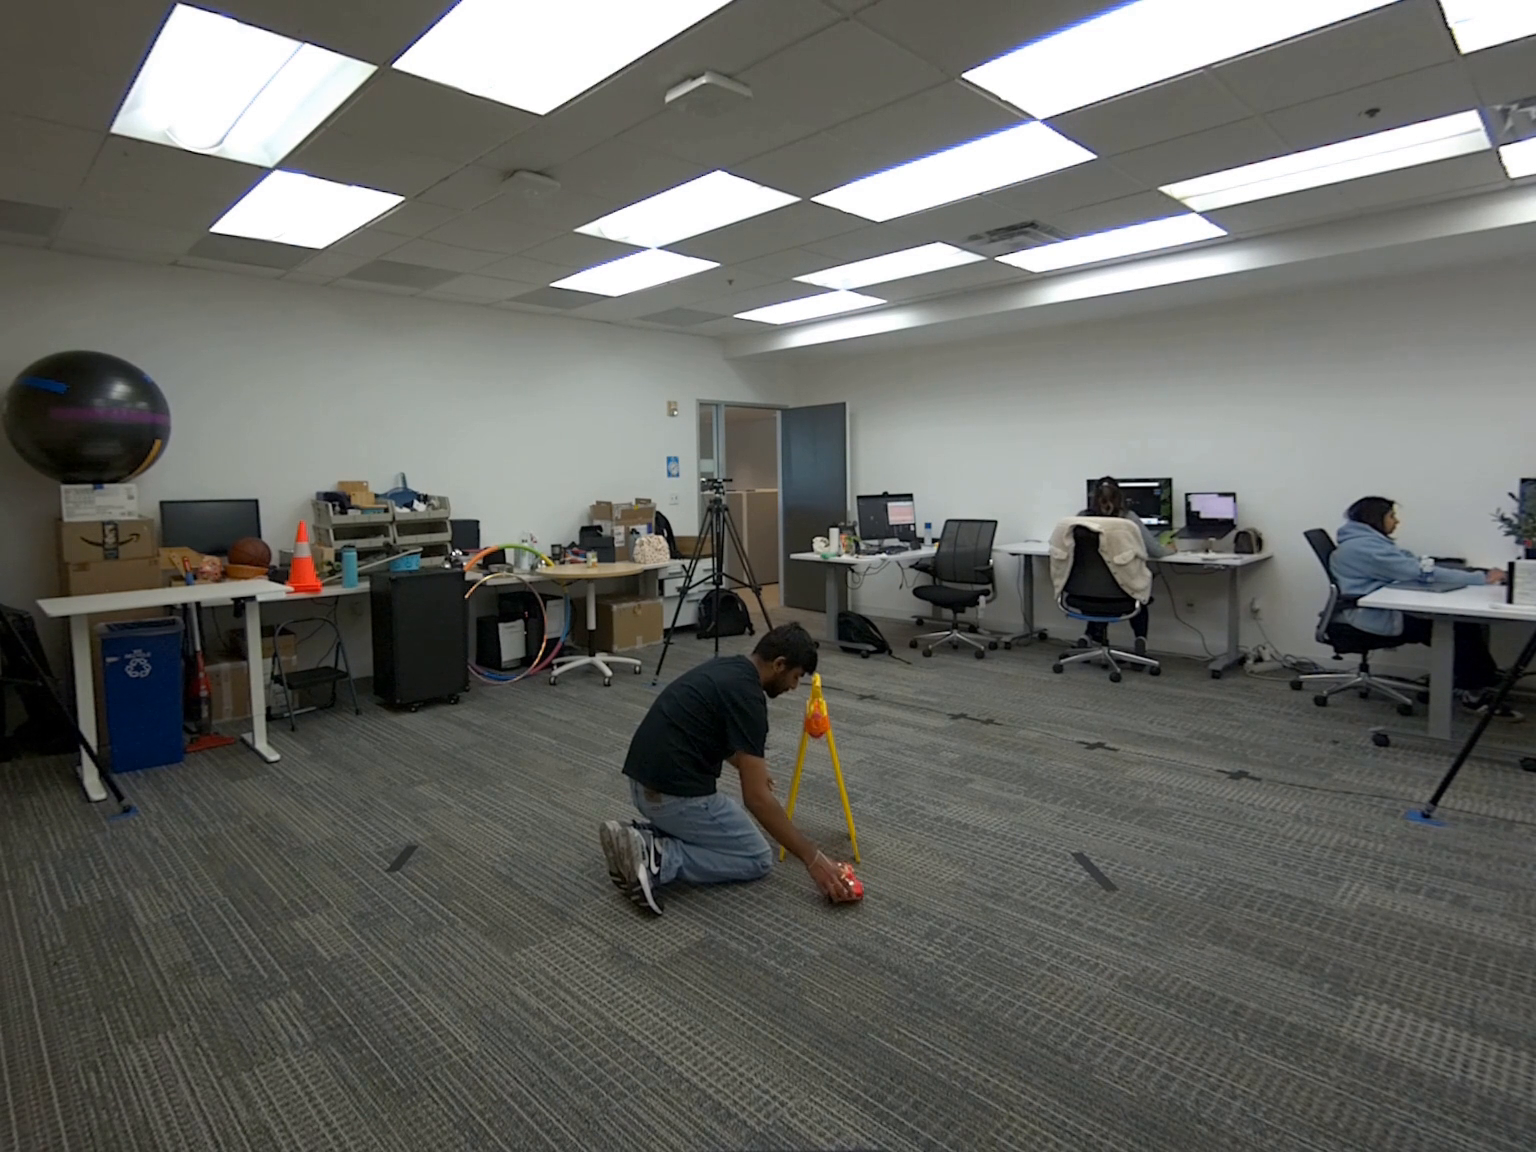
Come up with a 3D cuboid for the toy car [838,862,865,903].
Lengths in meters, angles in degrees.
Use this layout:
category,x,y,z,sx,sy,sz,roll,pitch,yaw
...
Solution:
category,x,y,z,sx,sy,sz,roll,pitch,yaw
toy car,0.244,1.025,2.902,0.129,0.083,0.255,-1,-3,-7
